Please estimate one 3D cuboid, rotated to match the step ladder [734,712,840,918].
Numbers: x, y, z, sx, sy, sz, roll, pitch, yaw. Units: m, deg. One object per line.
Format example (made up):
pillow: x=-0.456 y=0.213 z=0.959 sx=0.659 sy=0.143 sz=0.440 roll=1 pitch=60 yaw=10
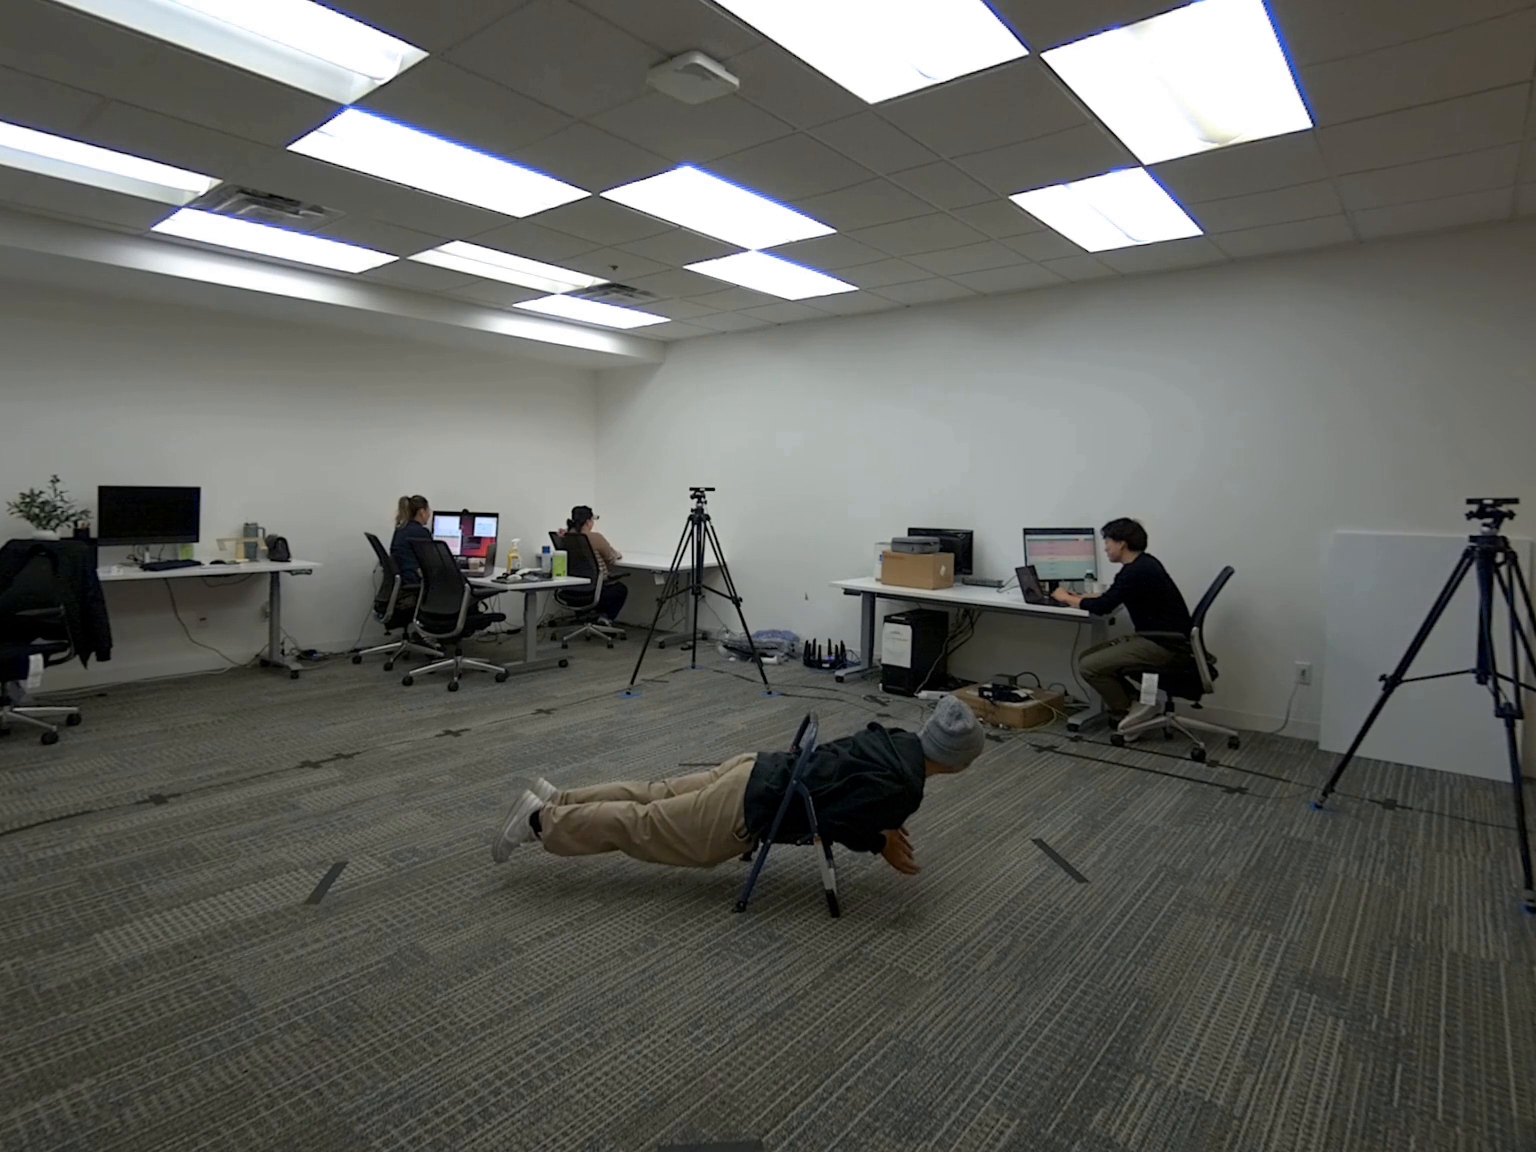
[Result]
step ladder: x=0.068 y=0.794 z=2.975 sx=0.351 sy=0.604 sz=0.430 roll=2 pitch=3 yaw=2
